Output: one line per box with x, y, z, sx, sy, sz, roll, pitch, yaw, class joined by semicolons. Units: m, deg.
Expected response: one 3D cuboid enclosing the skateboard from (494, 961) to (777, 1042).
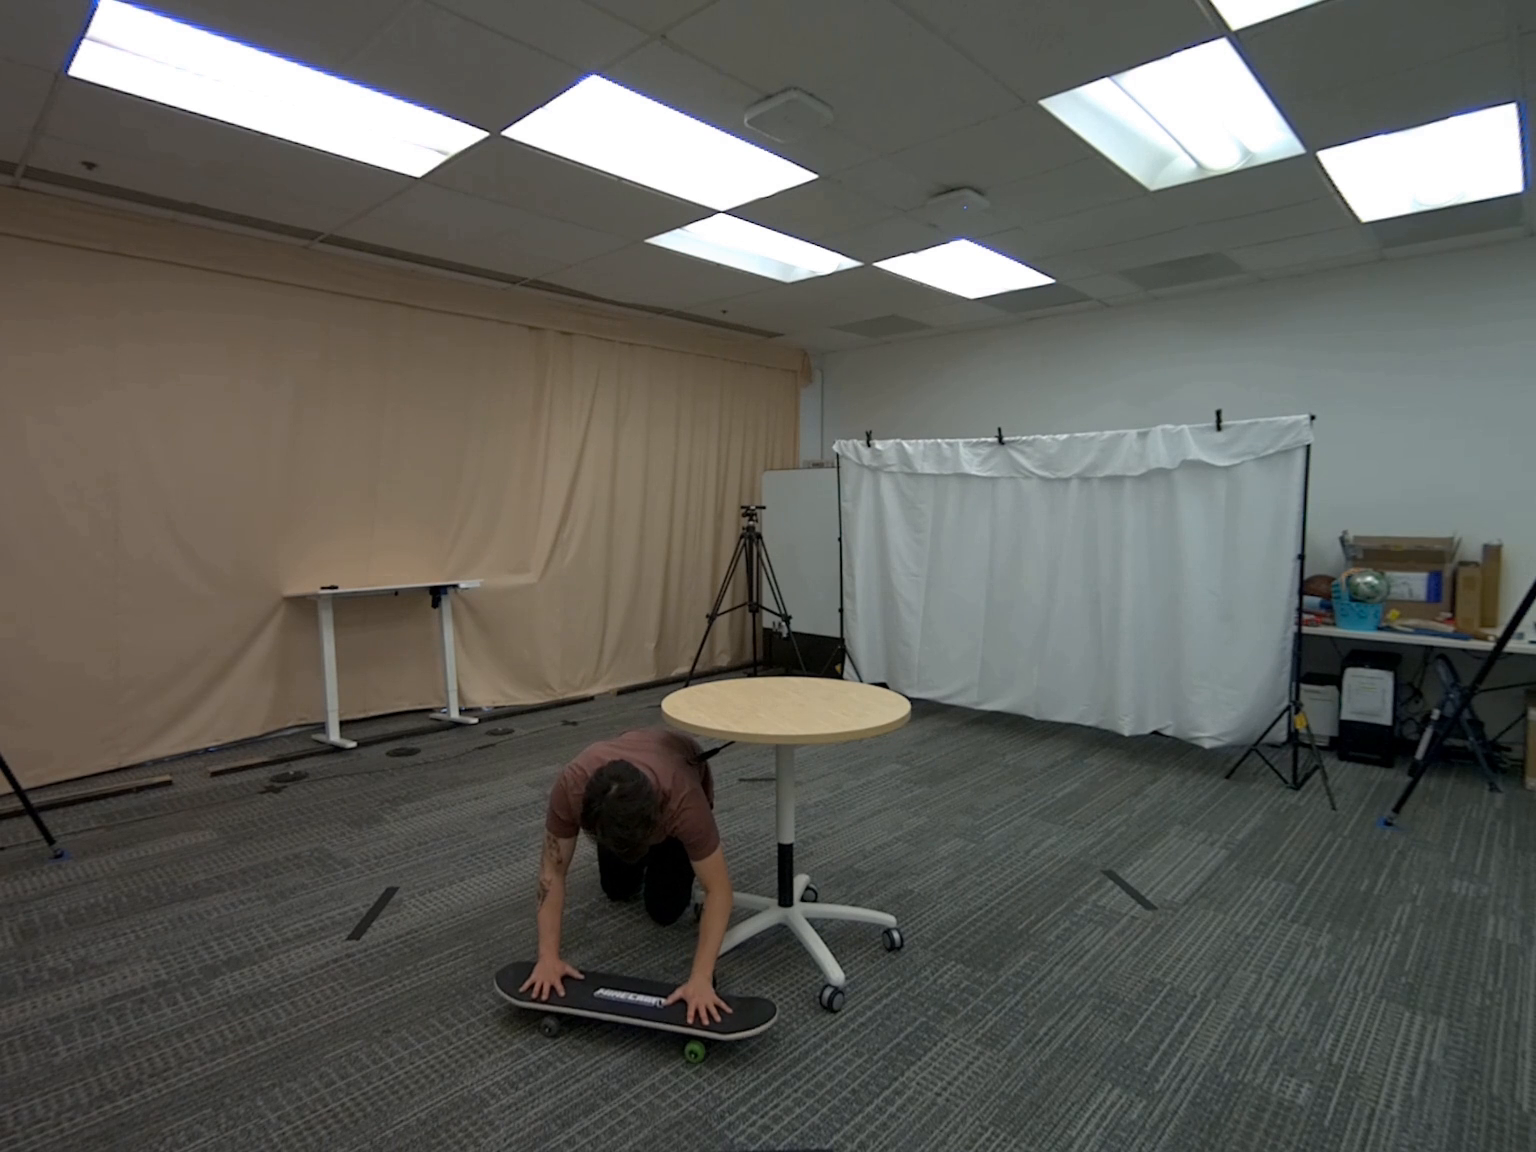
-0.359;1.141;2.251;0.800;0.110;0.190;2;4;18;skateboard
